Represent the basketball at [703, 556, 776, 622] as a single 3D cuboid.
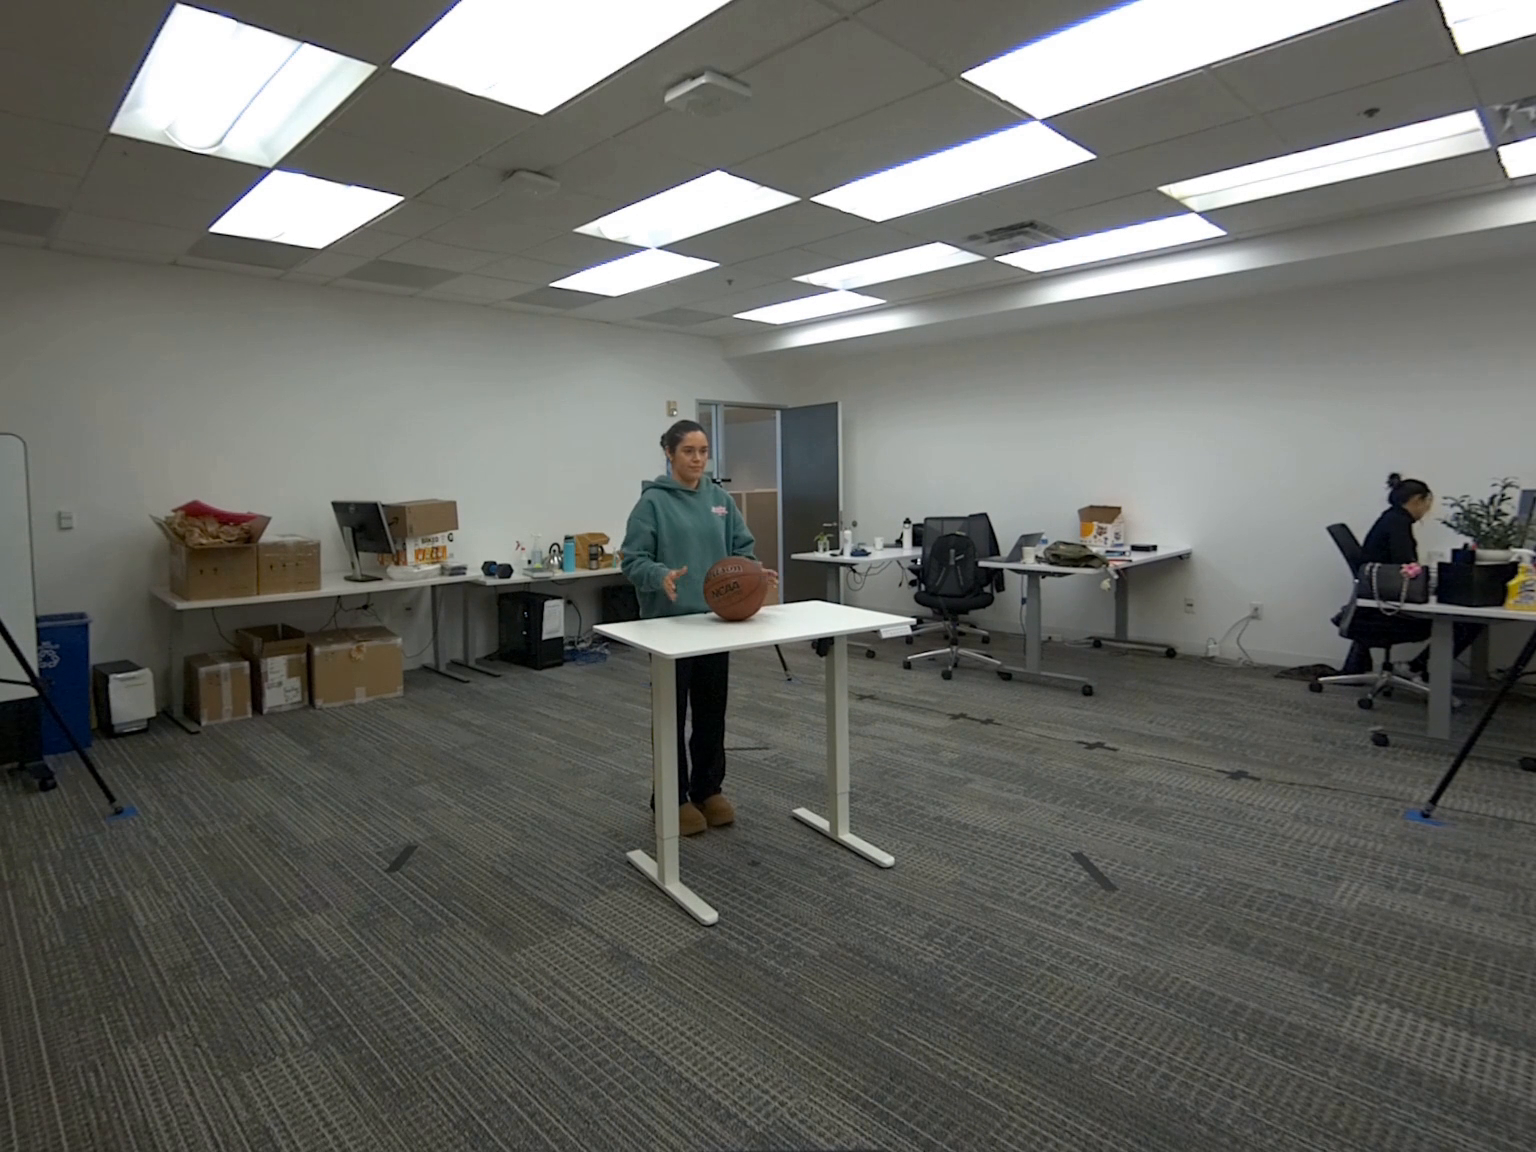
[{"bbox_3d":[-0.127,0.046,3.121,0.236,0.235,0.237,-1,5,-2],"label":"basketball"}]
